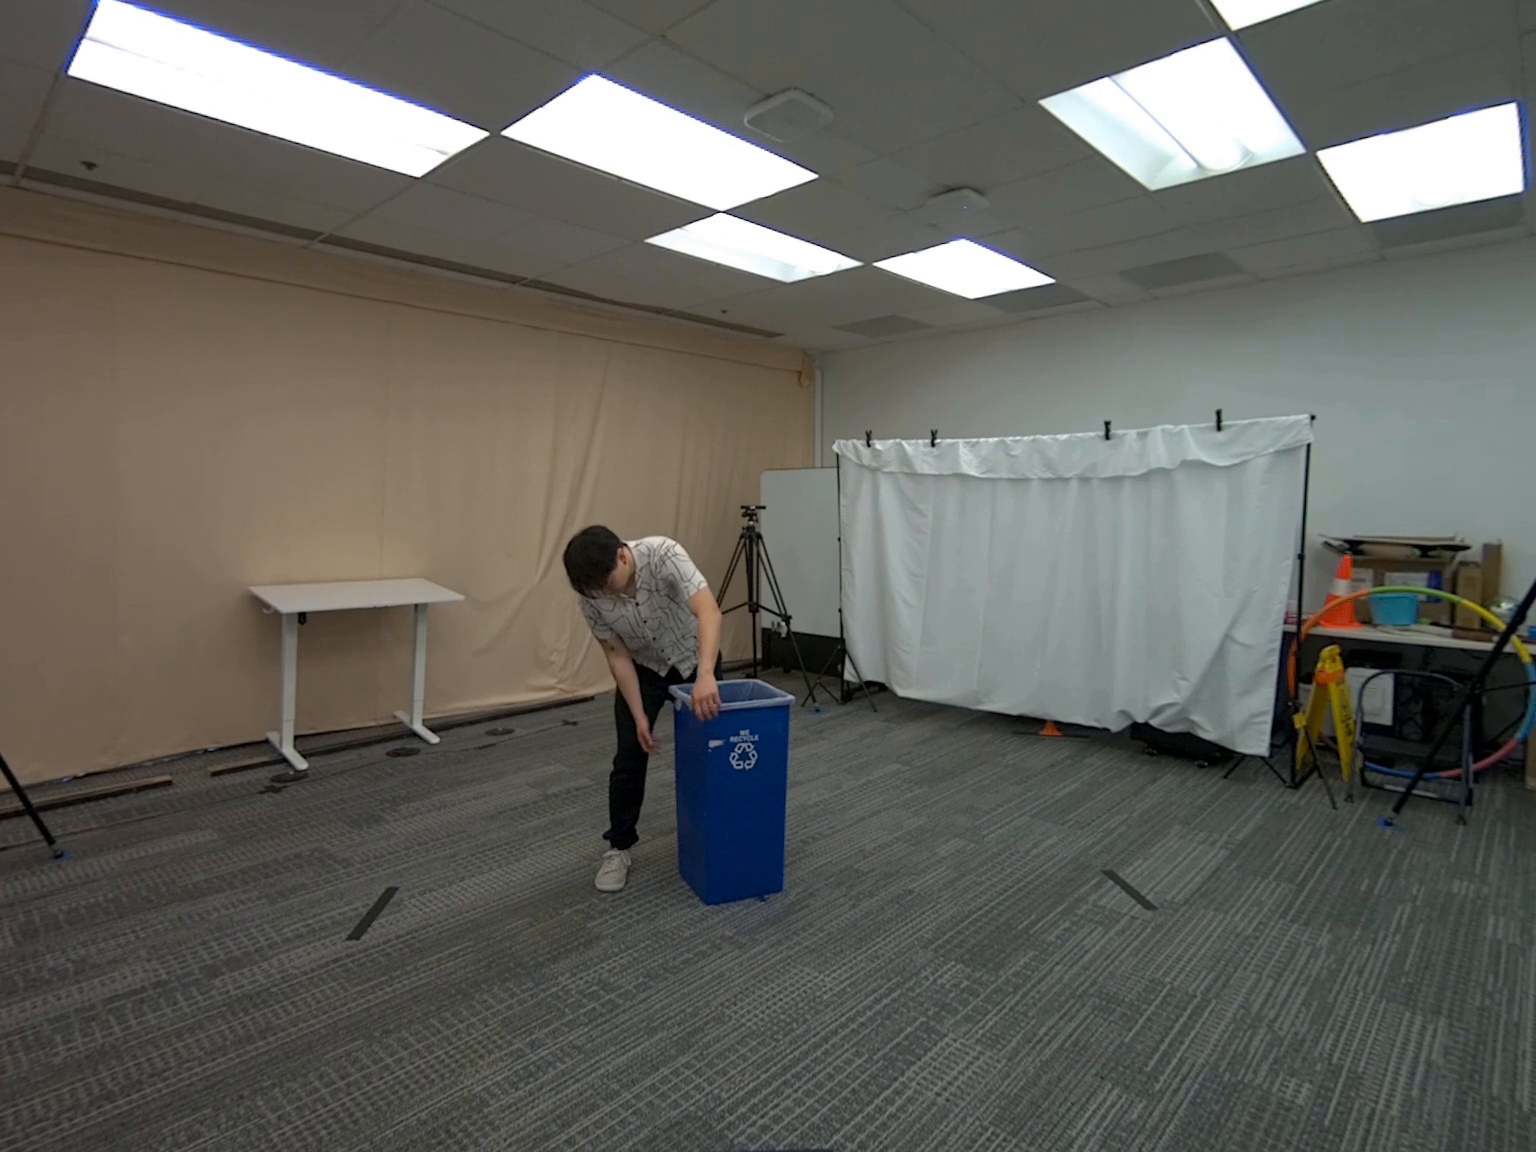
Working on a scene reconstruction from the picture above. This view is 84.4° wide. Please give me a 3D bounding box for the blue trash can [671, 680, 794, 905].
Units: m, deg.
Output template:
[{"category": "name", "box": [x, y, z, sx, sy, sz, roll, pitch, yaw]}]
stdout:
[{"category": "blue trash can", "box": [-0.129, 0.776, 3.097, 0.369, 0.712, 0.384, -1, 3, -26]}]
